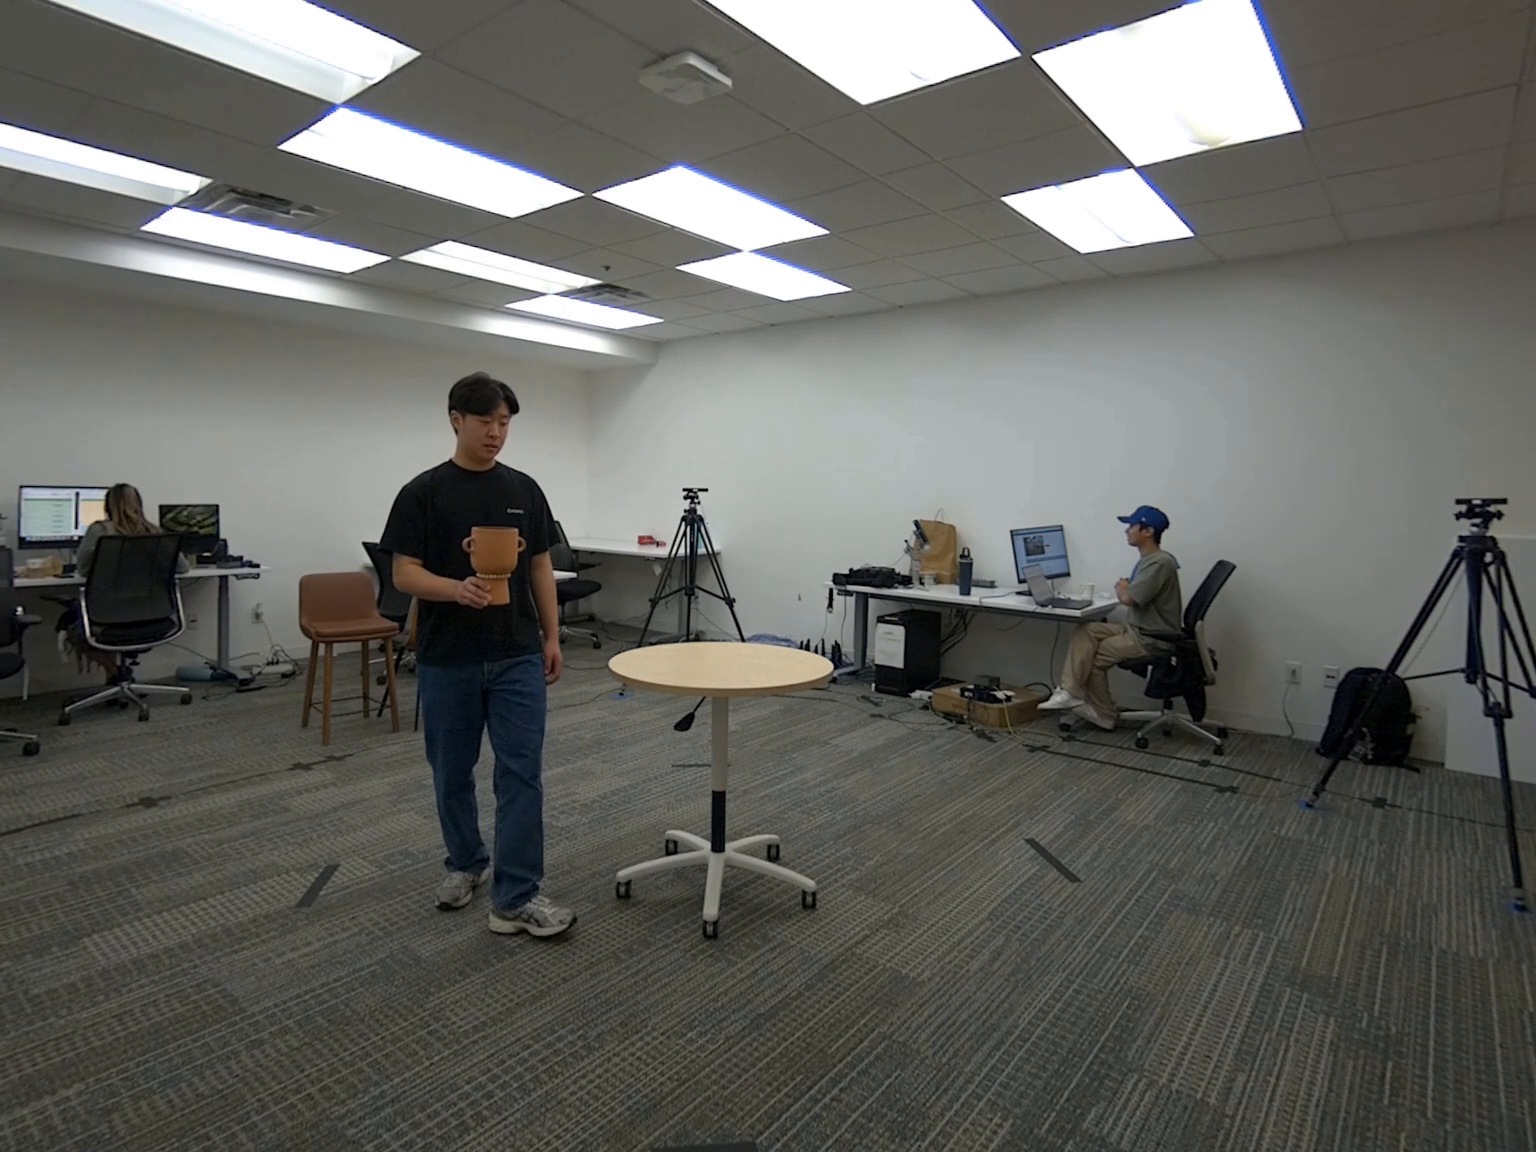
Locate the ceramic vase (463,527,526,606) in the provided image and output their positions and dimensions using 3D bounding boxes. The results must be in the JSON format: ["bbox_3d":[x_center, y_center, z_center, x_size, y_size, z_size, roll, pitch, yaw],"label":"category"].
[{"bbox_3d":[-0.830,-0.036,2.506,0.159,0.219,0.135,4,3,-2],"label":"ceramic vase"}]
